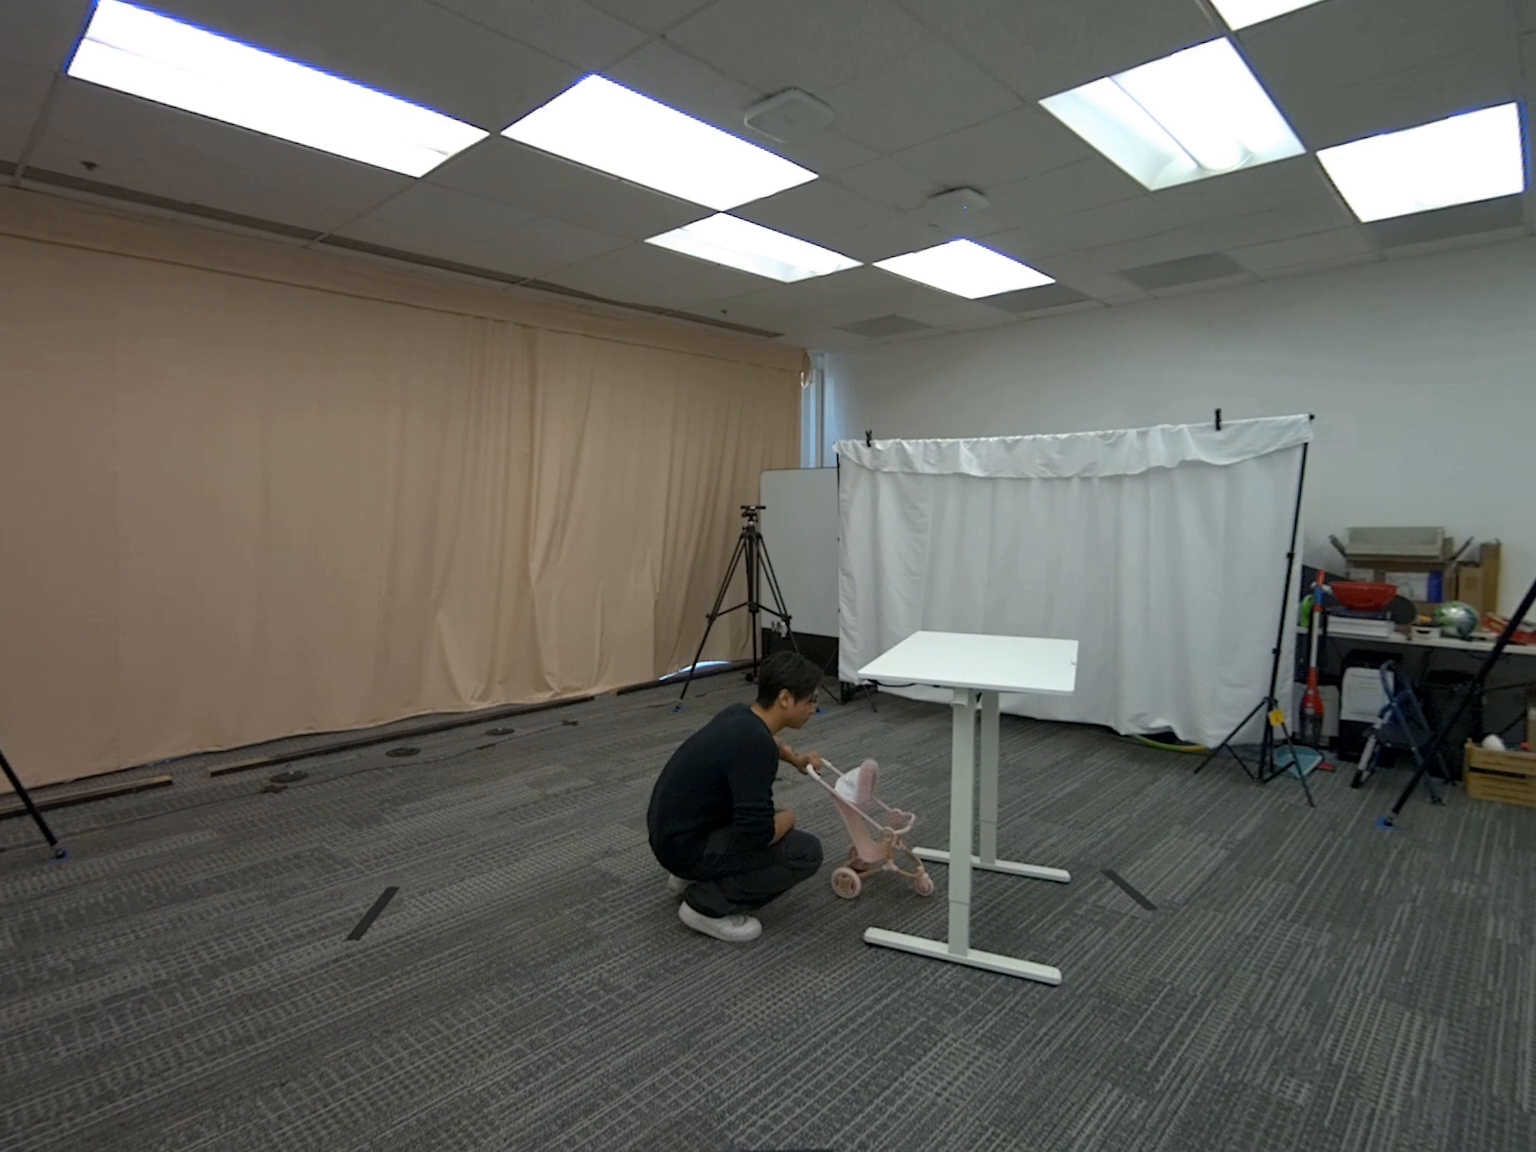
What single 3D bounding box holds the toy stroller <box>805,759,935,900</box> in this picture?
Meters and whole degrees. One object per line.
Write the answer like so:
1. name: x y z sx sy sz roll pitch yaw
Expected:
1. toy stroller: 0.380 0.910 3.057 0.348 0.536 0.275 -15 -3 24
